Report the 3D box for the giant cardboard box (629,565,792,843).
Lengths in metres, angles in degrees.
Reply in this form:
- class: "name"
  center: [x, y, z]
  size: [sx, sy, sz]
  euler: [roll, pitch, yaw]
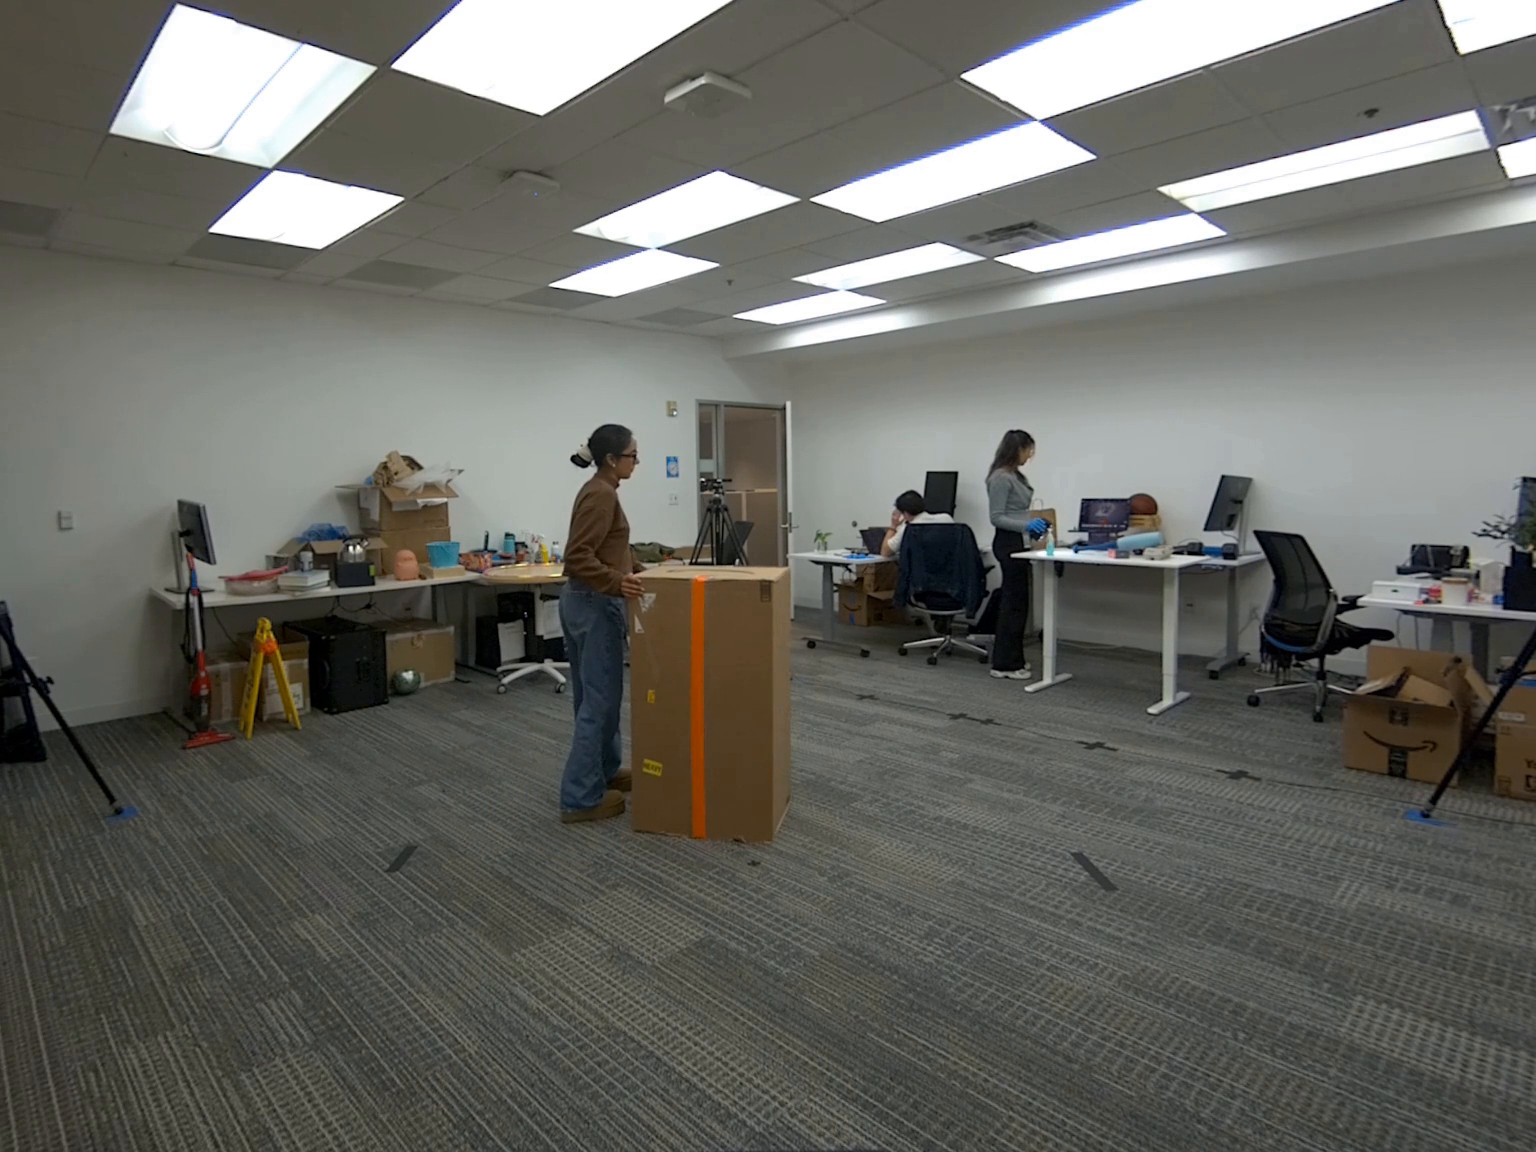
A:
- class: "giant cardboard box"
  center: [-0.224, 0.496, 3.493]
  size: [0.585, 1.021, 0.422]
  euler: [2, 5, 13]
